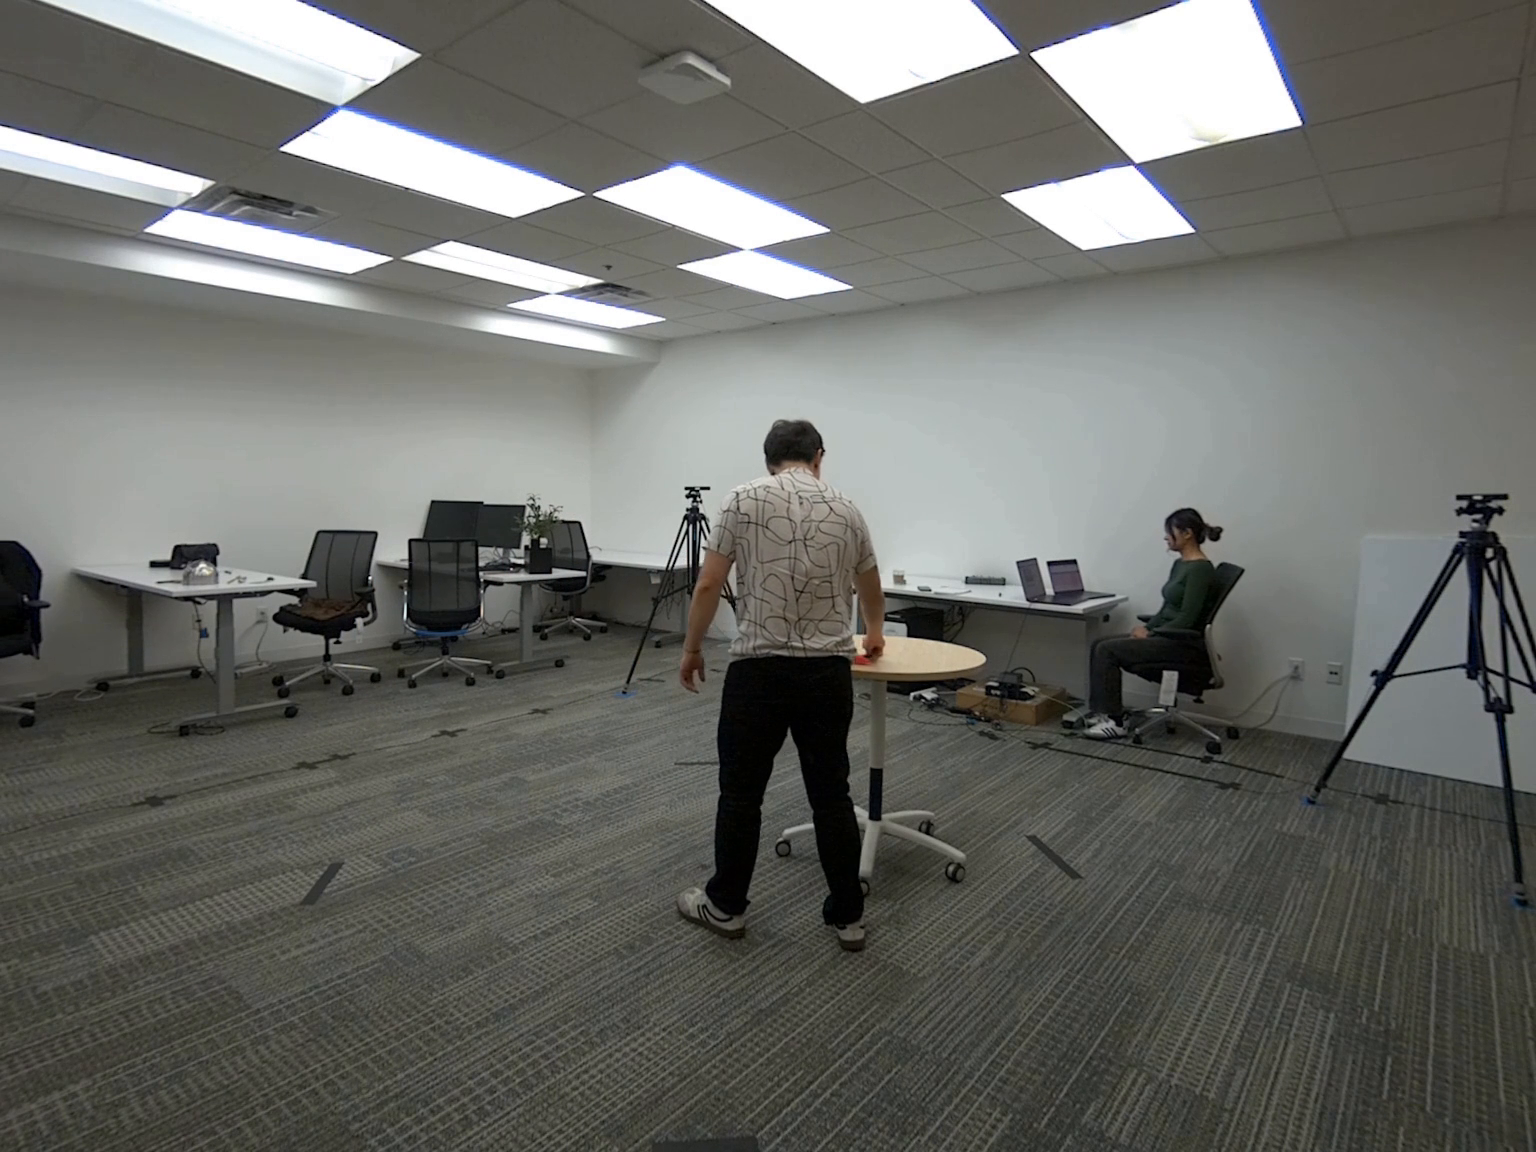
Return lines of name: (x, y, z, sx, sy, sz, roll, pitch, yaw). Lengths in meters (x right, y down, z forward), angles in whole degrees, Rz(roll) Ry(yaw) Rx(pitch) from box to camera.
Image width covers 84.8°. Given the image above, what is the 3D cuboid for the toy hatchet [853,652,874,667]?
toy hatchet: (0.341, 0.281, 3.086, 0.134, 0.029, 0.266, 5, 6, 17)
